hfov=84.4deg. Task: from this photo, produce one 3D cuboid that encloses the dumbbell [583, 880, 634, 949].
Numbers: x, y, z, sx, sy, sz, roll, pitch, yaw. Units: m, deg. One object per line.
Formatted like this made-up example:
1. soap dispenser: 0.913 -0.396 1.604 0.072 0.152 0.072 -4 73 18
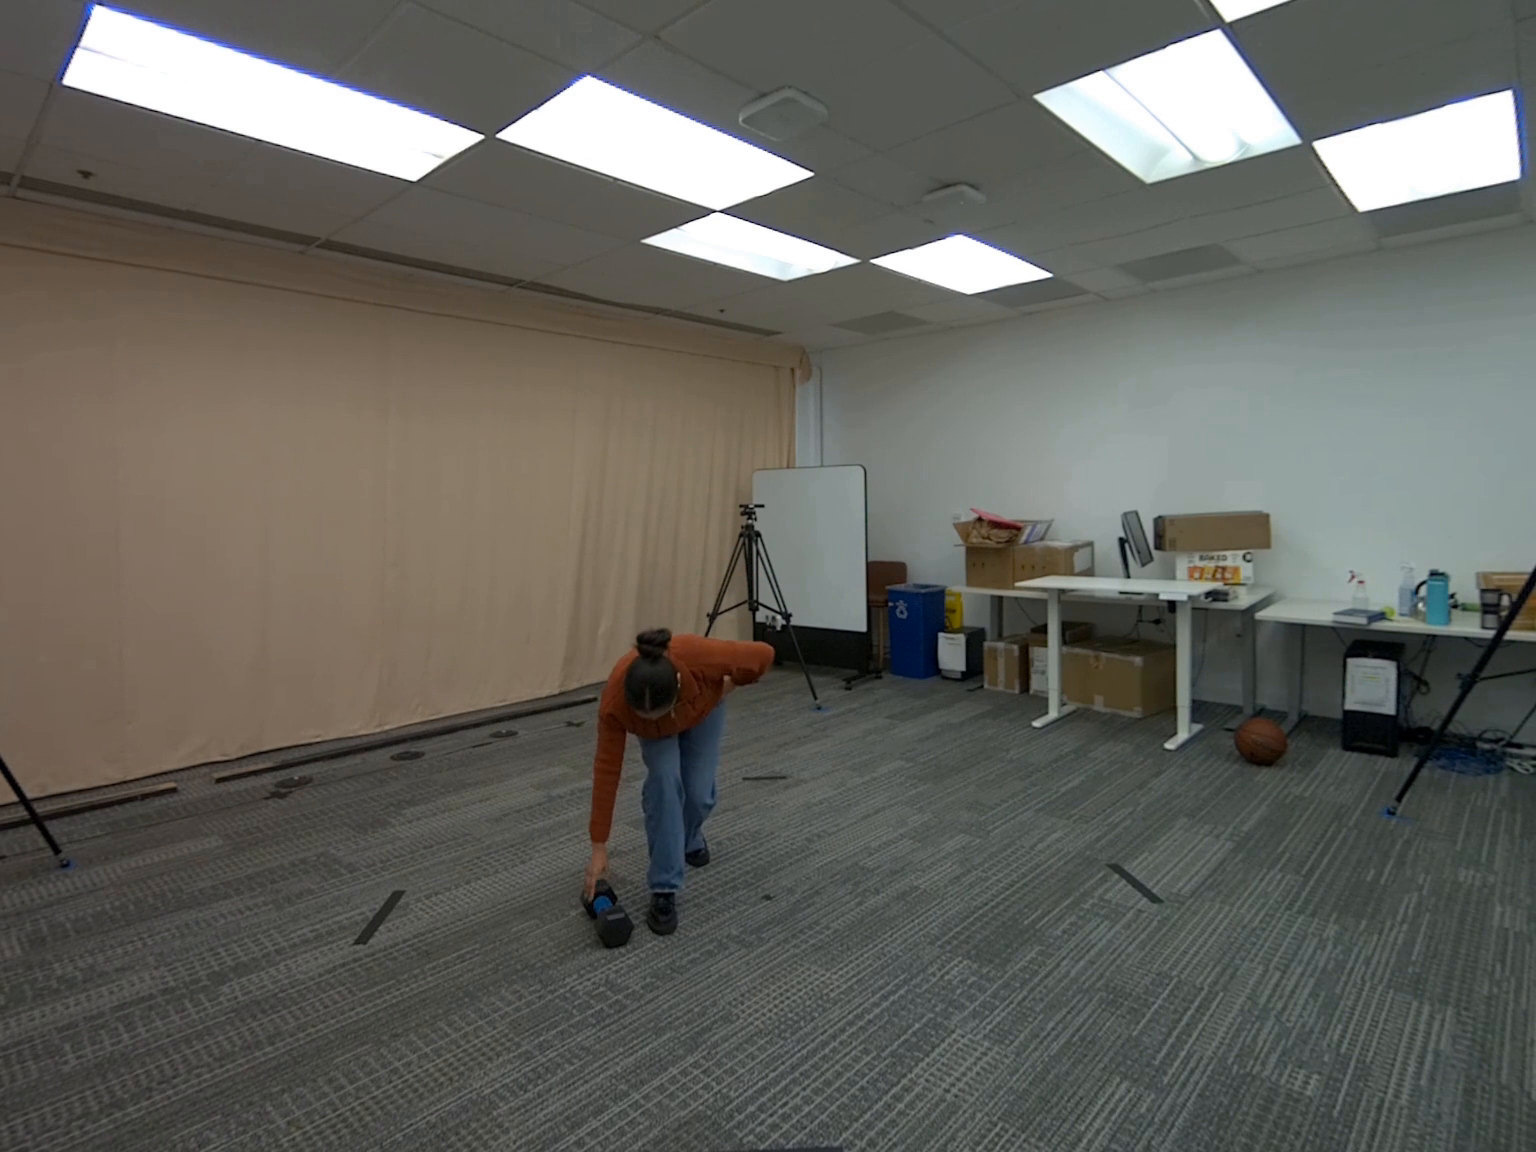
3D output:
1. dumbbell: -0.539 1.116 2.788 0.106 0.123 0.301 30 -7 -22
